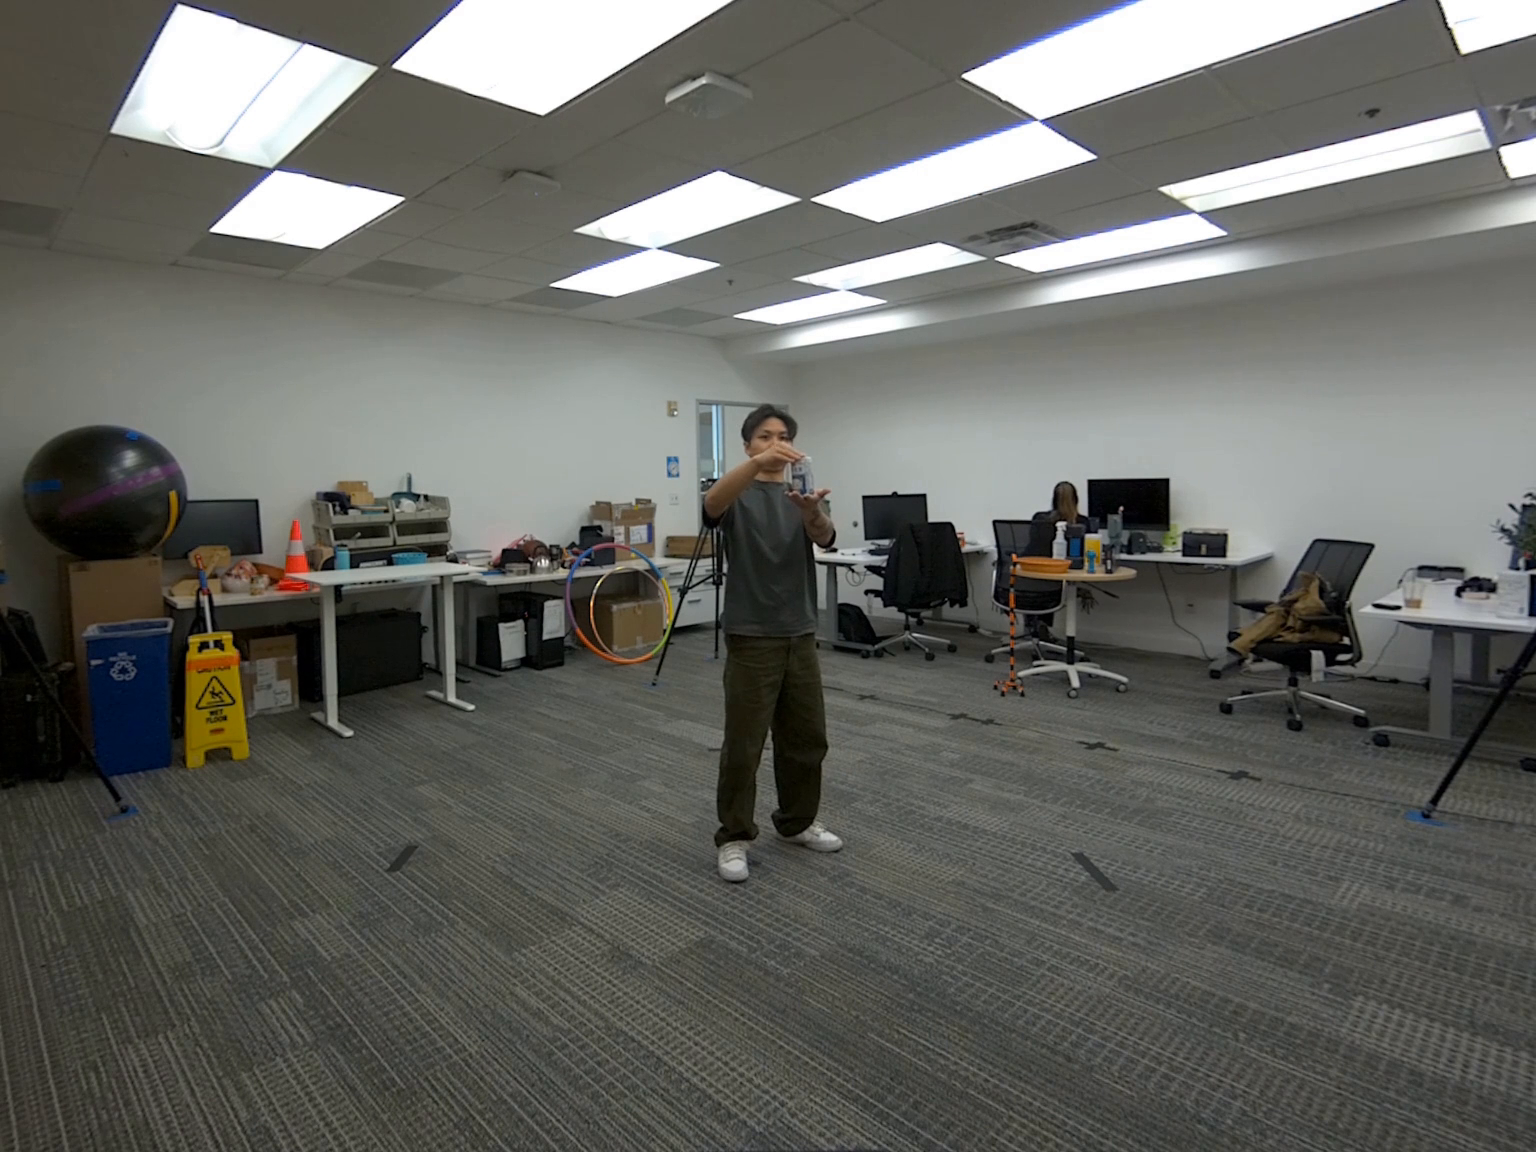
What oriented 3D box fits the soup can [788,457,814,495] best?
[{"bbox_3d":[0.096,-0.306,2.637,0.067,0.120,0.068,-3,10,-1],"label":"soup can"}]
